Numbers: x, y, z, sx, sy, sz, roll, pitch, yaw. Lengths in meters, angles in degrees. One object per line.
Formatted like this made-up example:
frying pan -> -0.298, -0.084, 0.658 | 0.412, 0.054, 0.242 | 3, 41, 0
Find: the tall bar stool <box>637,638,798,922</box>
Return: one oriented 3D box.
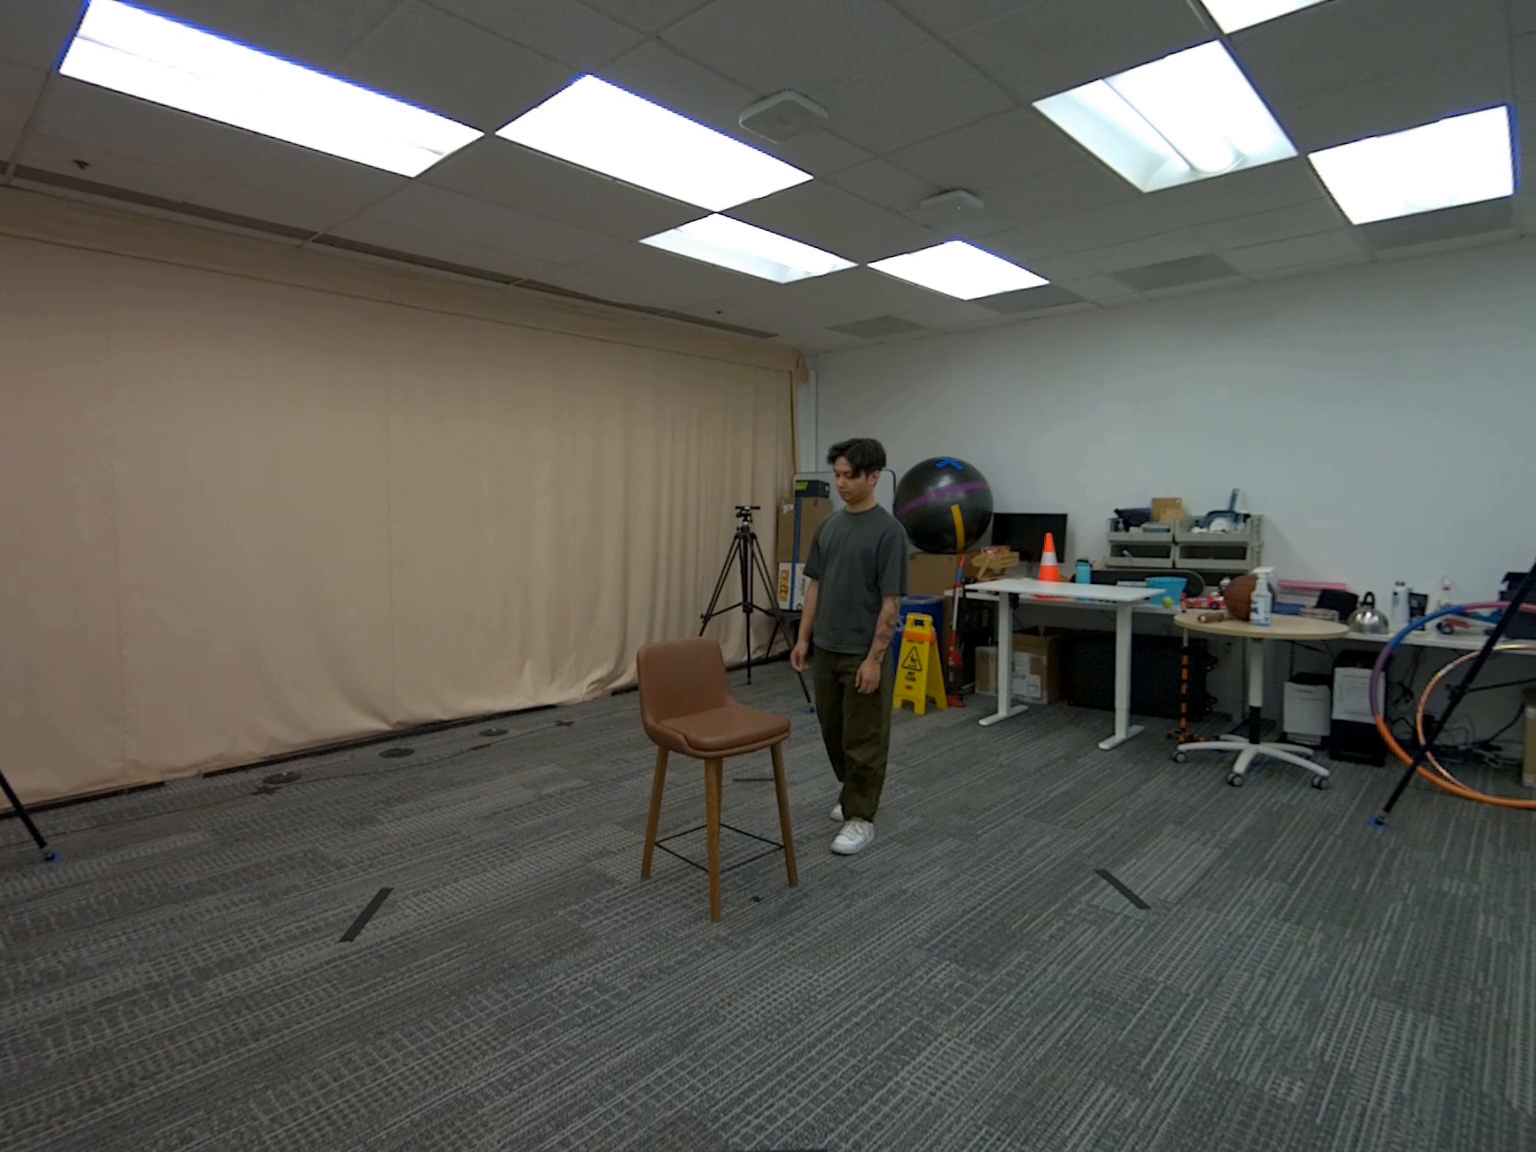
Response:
tall bar stool -> -0.194, 0.700, 3.095 | 0.442, 0.888, 0.483 | -4, 3, -43
